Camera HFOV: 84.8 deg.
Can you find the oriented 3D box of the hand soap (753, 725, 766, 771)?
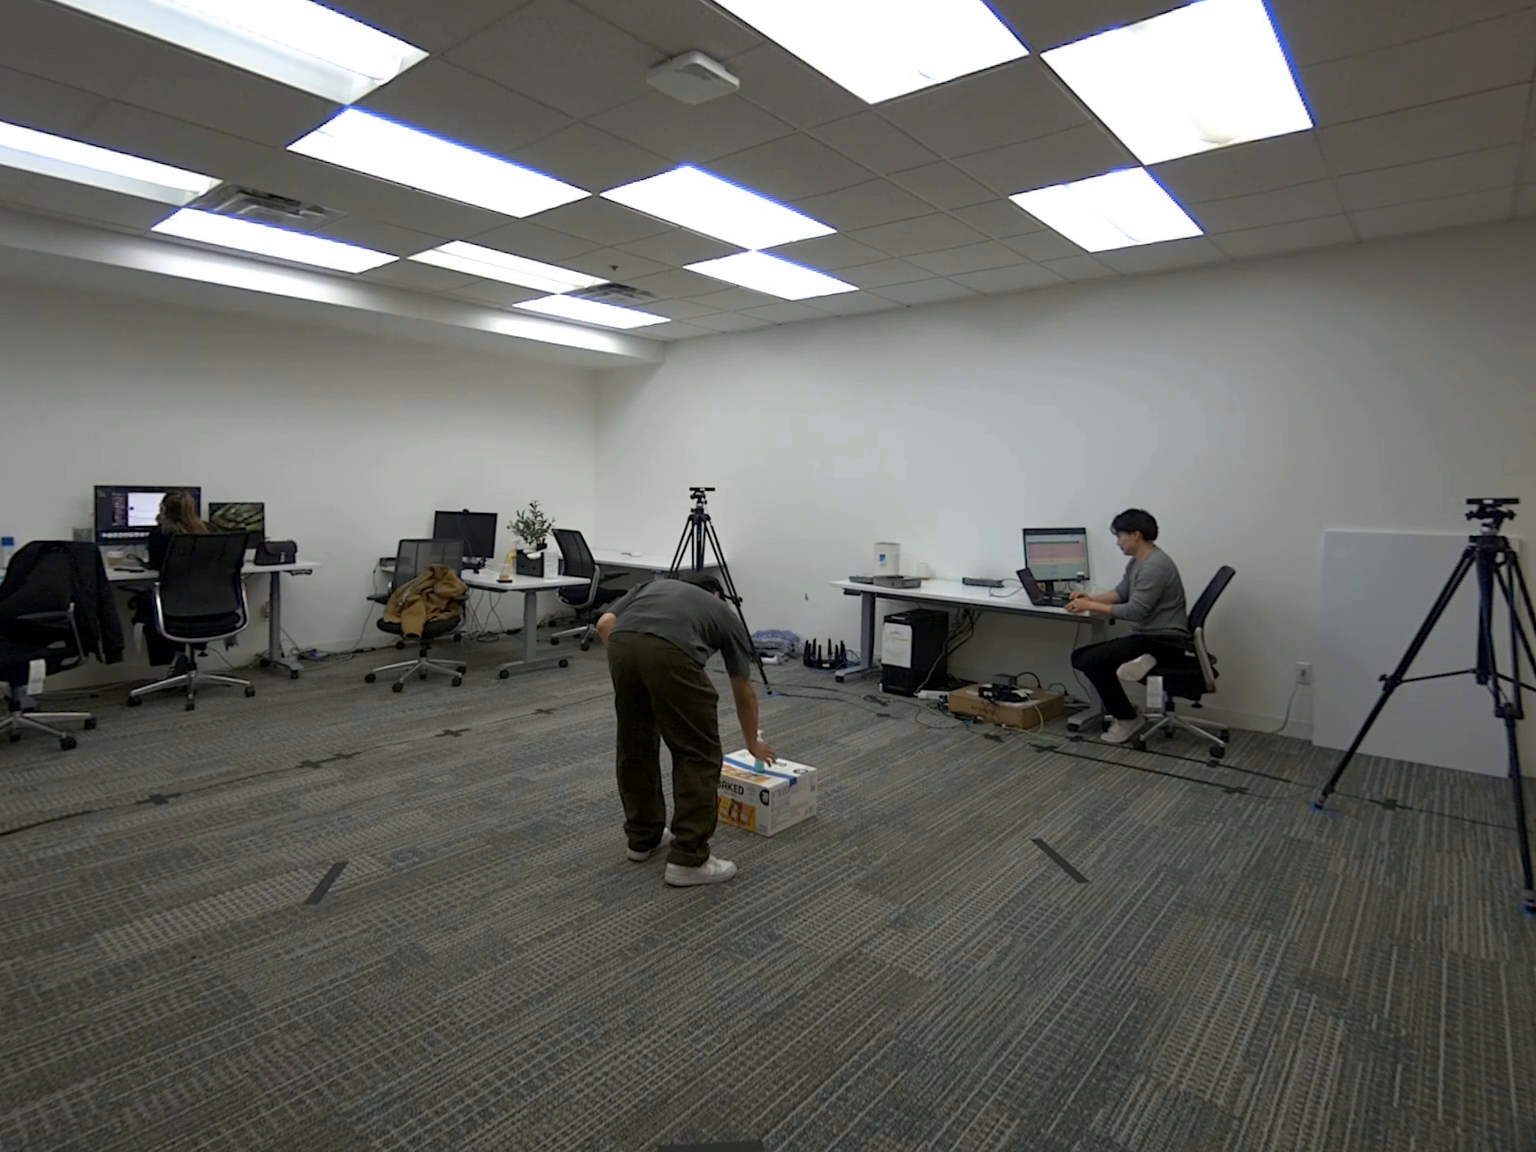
[{"bbox_3d":[-0.039,0.739,3.626,0.043,0.167,0.085,0,7,-3],"label":"hand soap"}]
